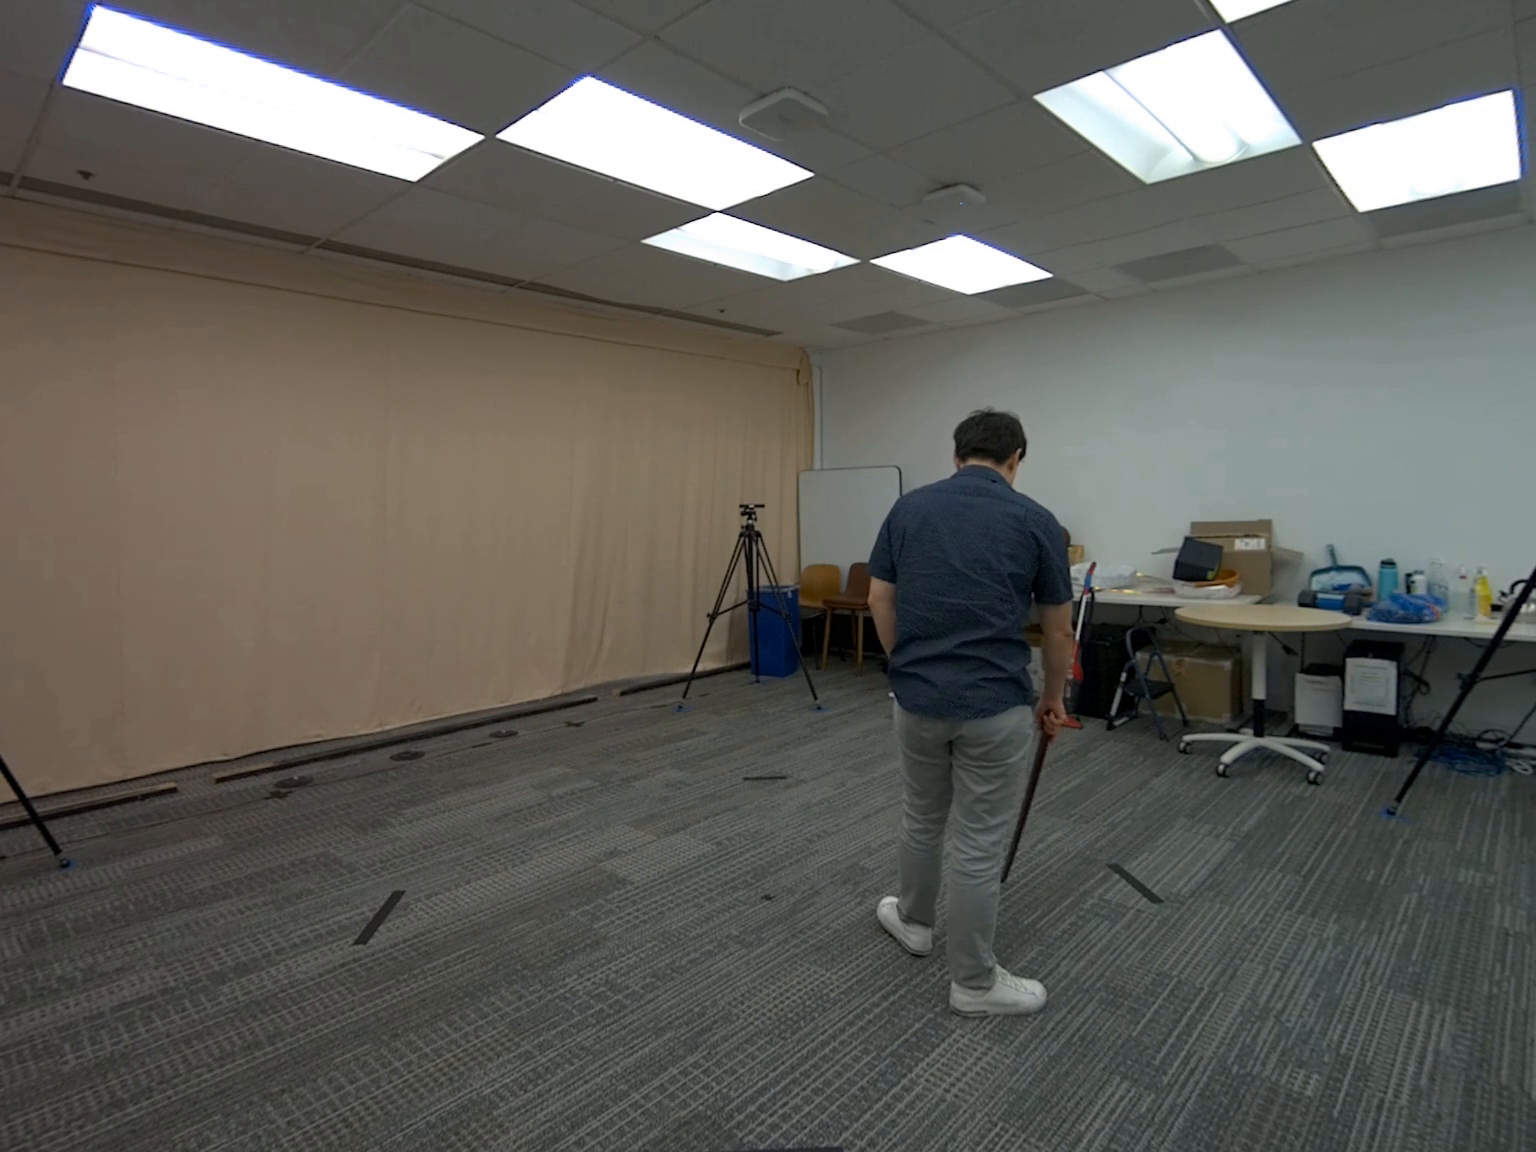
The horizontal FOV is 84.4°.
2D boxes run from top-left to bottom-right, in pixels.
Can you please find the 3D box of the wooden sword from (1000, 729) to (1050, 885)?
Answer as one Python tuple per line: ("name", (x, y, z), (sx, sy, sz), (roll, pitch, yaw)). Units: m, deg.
("wooden sword", (0.821, 0.771, 2.737), (0.052, 1.002, 0.024), (14, 47, 19))
